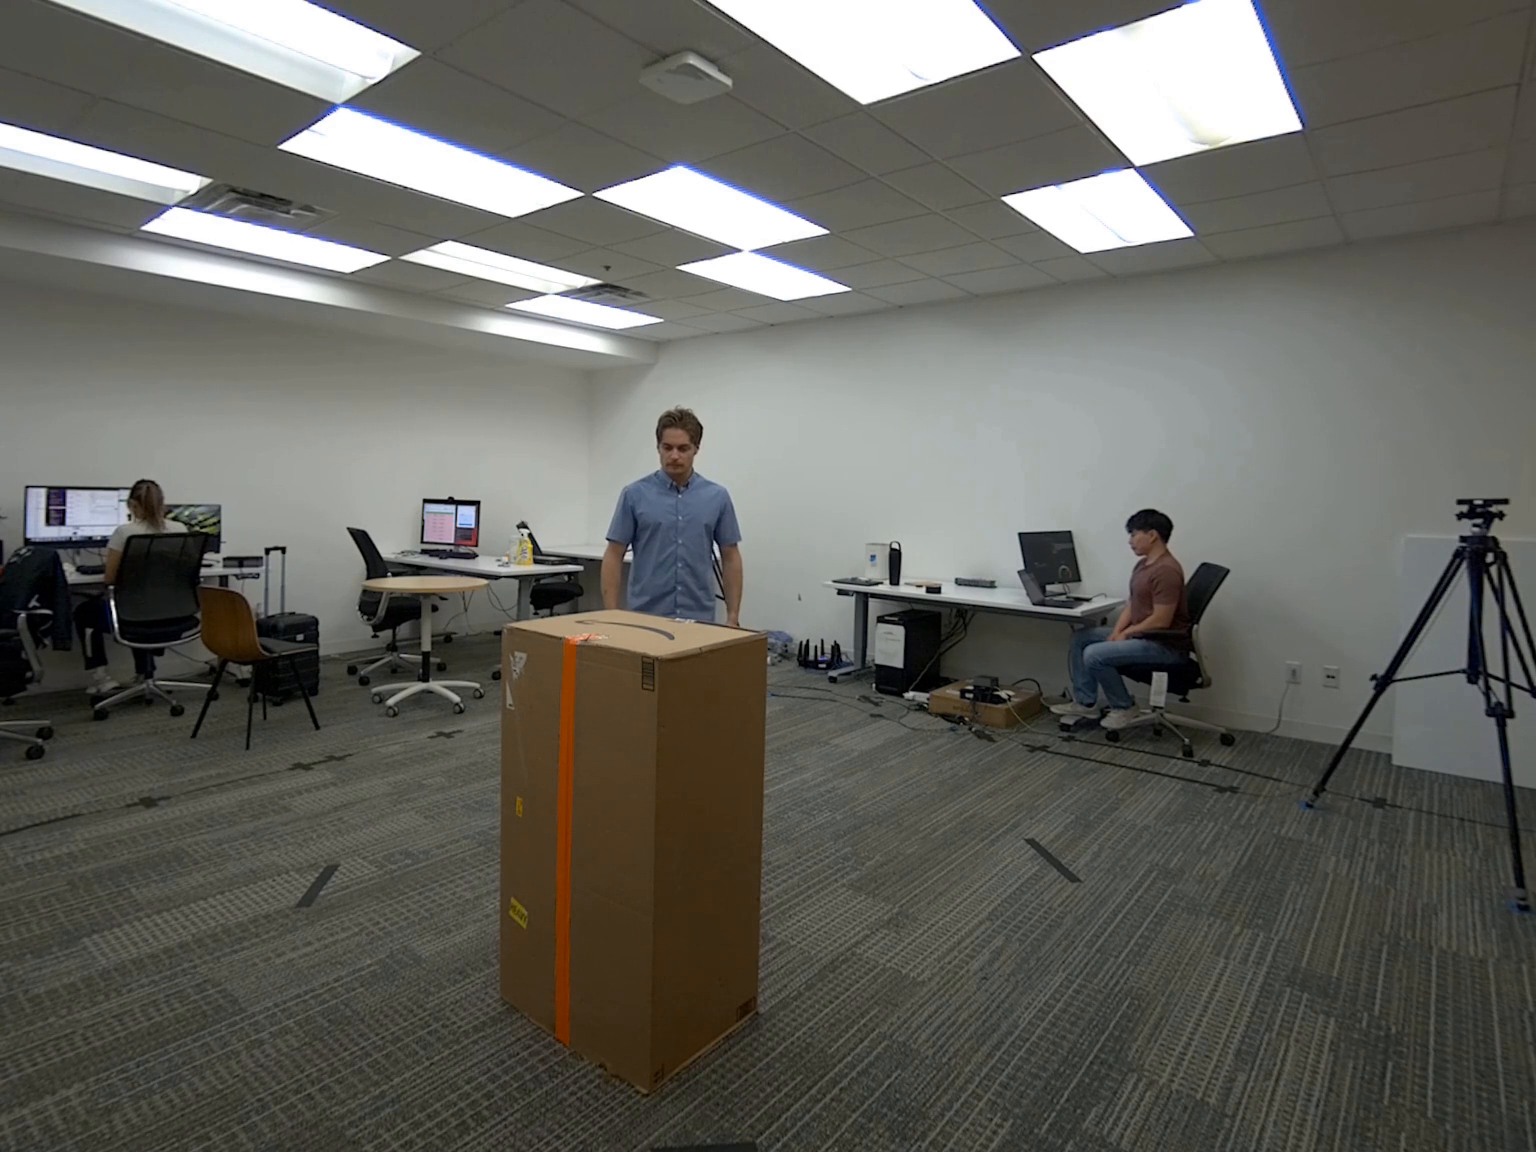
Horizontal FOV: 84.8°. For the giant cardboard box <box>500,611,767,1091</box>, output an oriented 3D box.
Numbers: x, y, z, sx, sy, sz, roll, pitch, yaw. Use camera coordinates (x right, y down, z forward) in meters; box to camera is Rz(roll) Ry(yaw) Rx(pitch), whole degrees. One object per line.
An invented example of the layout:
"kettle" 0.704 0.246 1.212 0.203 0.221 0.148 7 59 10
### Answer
"giant cardboard box" -0.371 0.644 2.252 0.597 1.022 0.413 5 5 39
